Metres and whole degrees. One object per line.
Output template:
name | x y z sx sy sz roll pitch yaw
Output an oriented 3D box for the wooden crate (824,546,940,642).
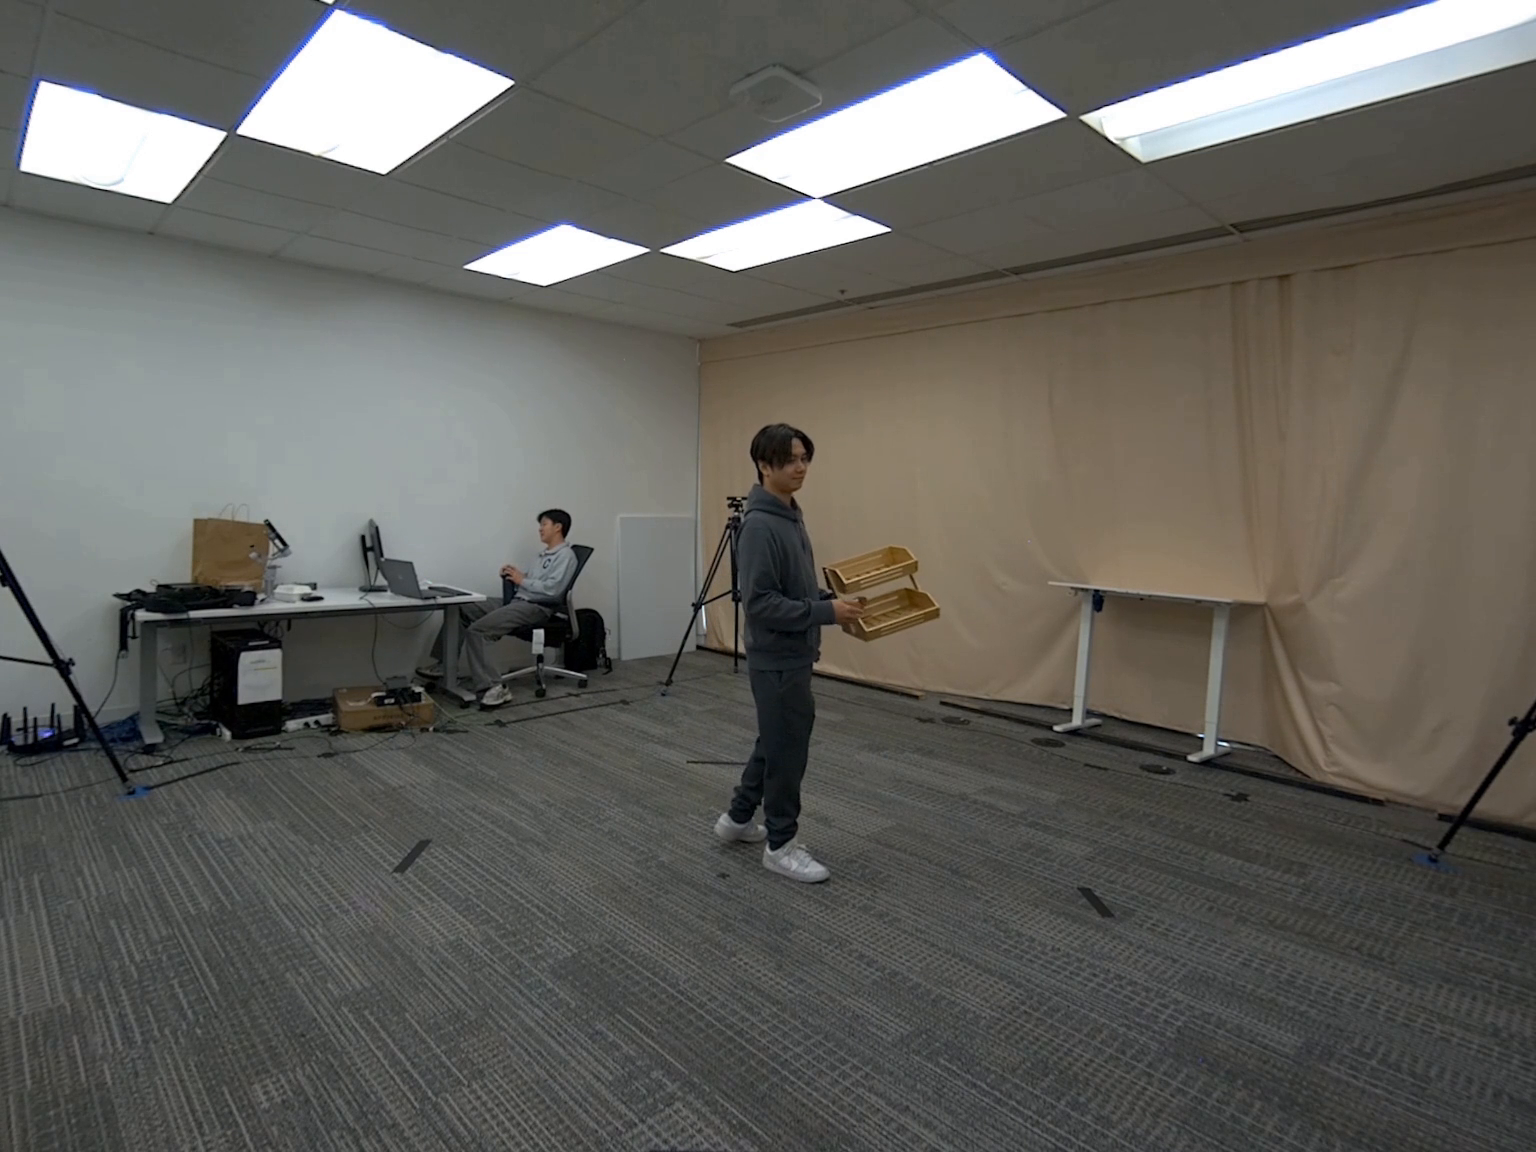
wooden crate | 0.416 0.051 3.173 0.322 0.272 0.306 -17 7 -15
